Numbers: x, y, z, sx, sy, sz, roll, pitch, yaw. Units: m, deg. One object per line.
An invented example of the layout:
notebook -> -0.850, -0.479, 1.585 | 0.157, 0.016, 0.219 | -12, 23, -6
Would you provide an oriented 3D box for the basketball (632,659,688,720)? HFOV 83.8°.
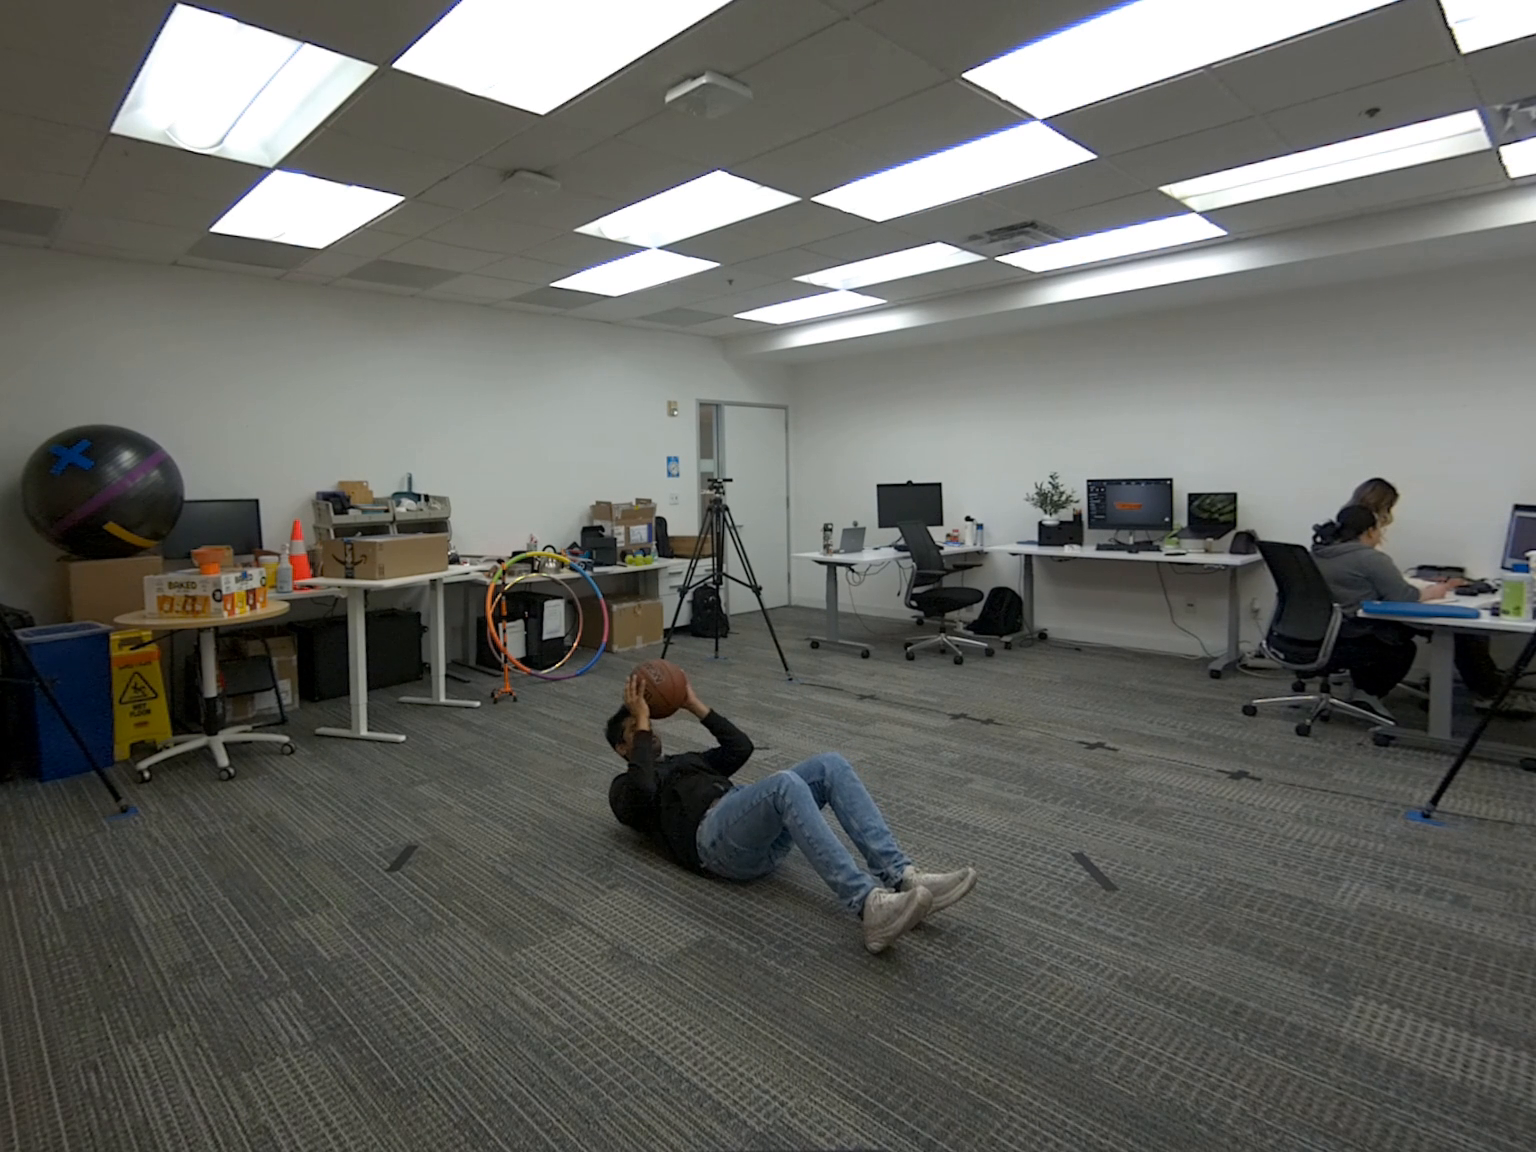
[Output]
basketball -> -0.438, 0.453, 3.398 | 0.236, 0.235, 0.237 | -1, 5, -2
